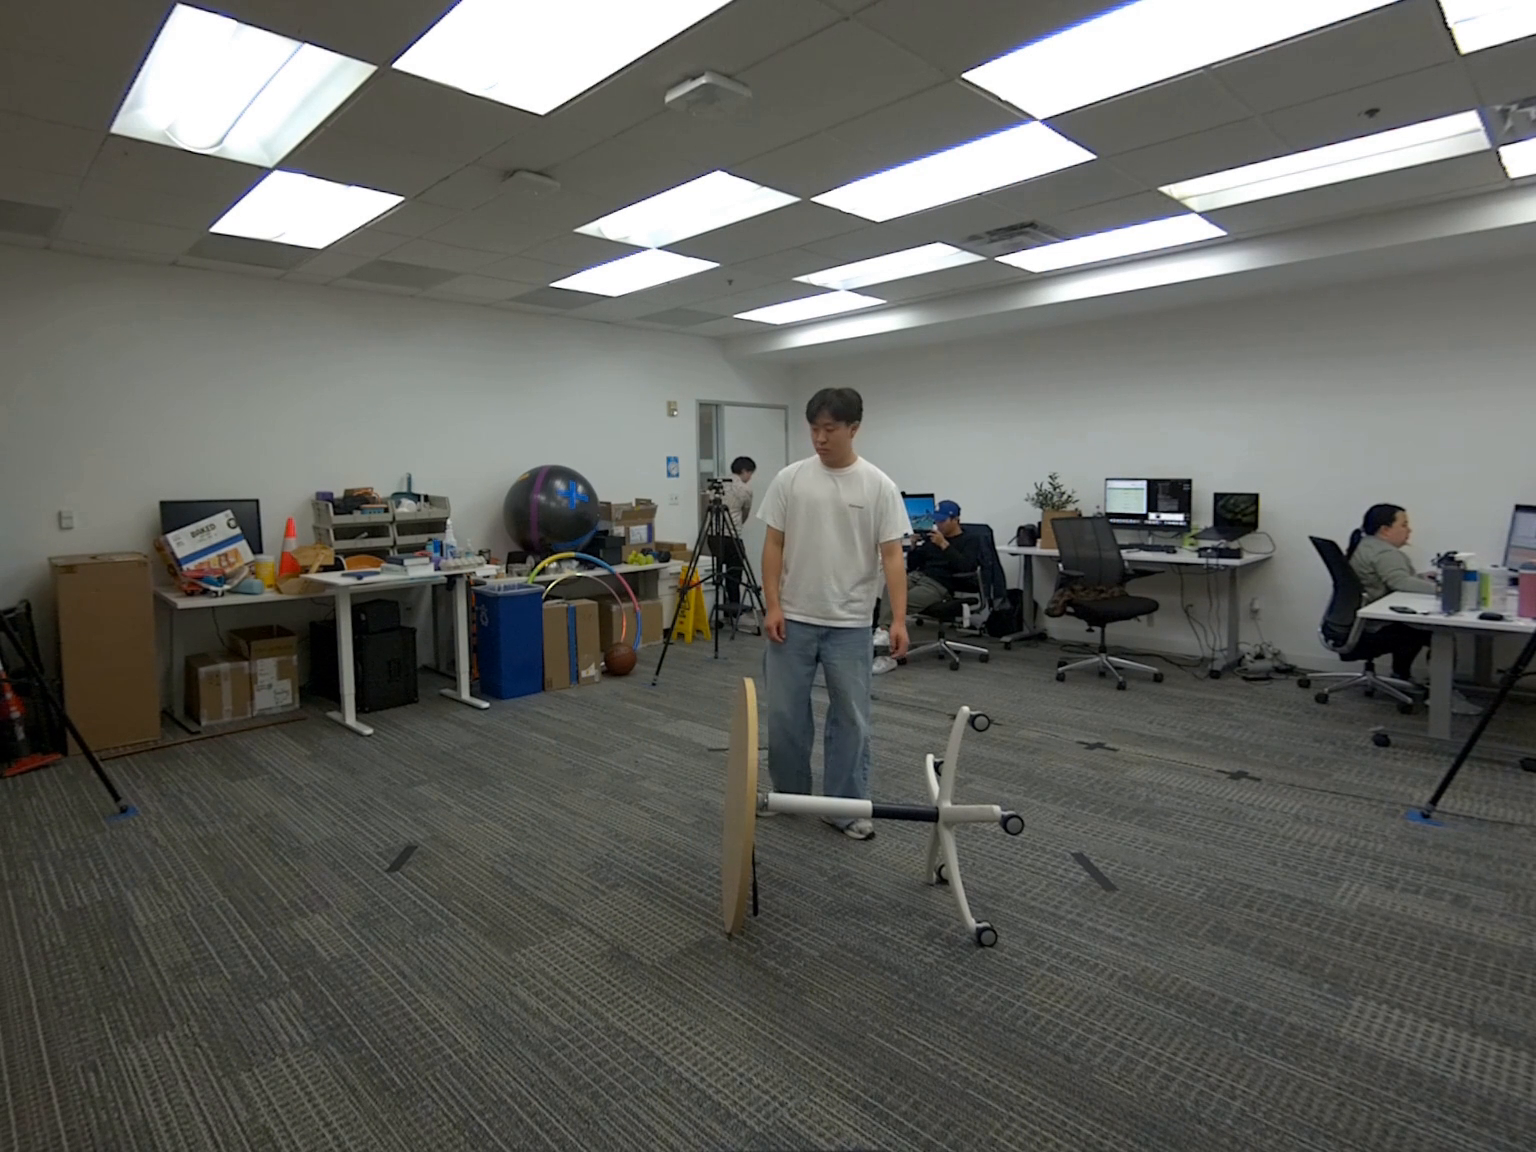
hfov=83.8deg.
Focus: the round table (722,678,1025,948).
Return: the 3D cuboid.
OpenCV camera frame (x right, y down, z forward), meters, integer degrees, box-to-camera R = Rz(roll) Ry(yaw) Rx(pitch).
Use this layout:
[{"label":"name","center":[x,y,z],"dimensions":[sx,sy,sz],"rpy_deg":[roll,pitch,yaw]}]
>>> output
[{"label":"round table","center":[0.286,0.736,2.737],"dimensions":[0.782,0.783,0.792],"rpy_deg":[4,4,-6]}]
